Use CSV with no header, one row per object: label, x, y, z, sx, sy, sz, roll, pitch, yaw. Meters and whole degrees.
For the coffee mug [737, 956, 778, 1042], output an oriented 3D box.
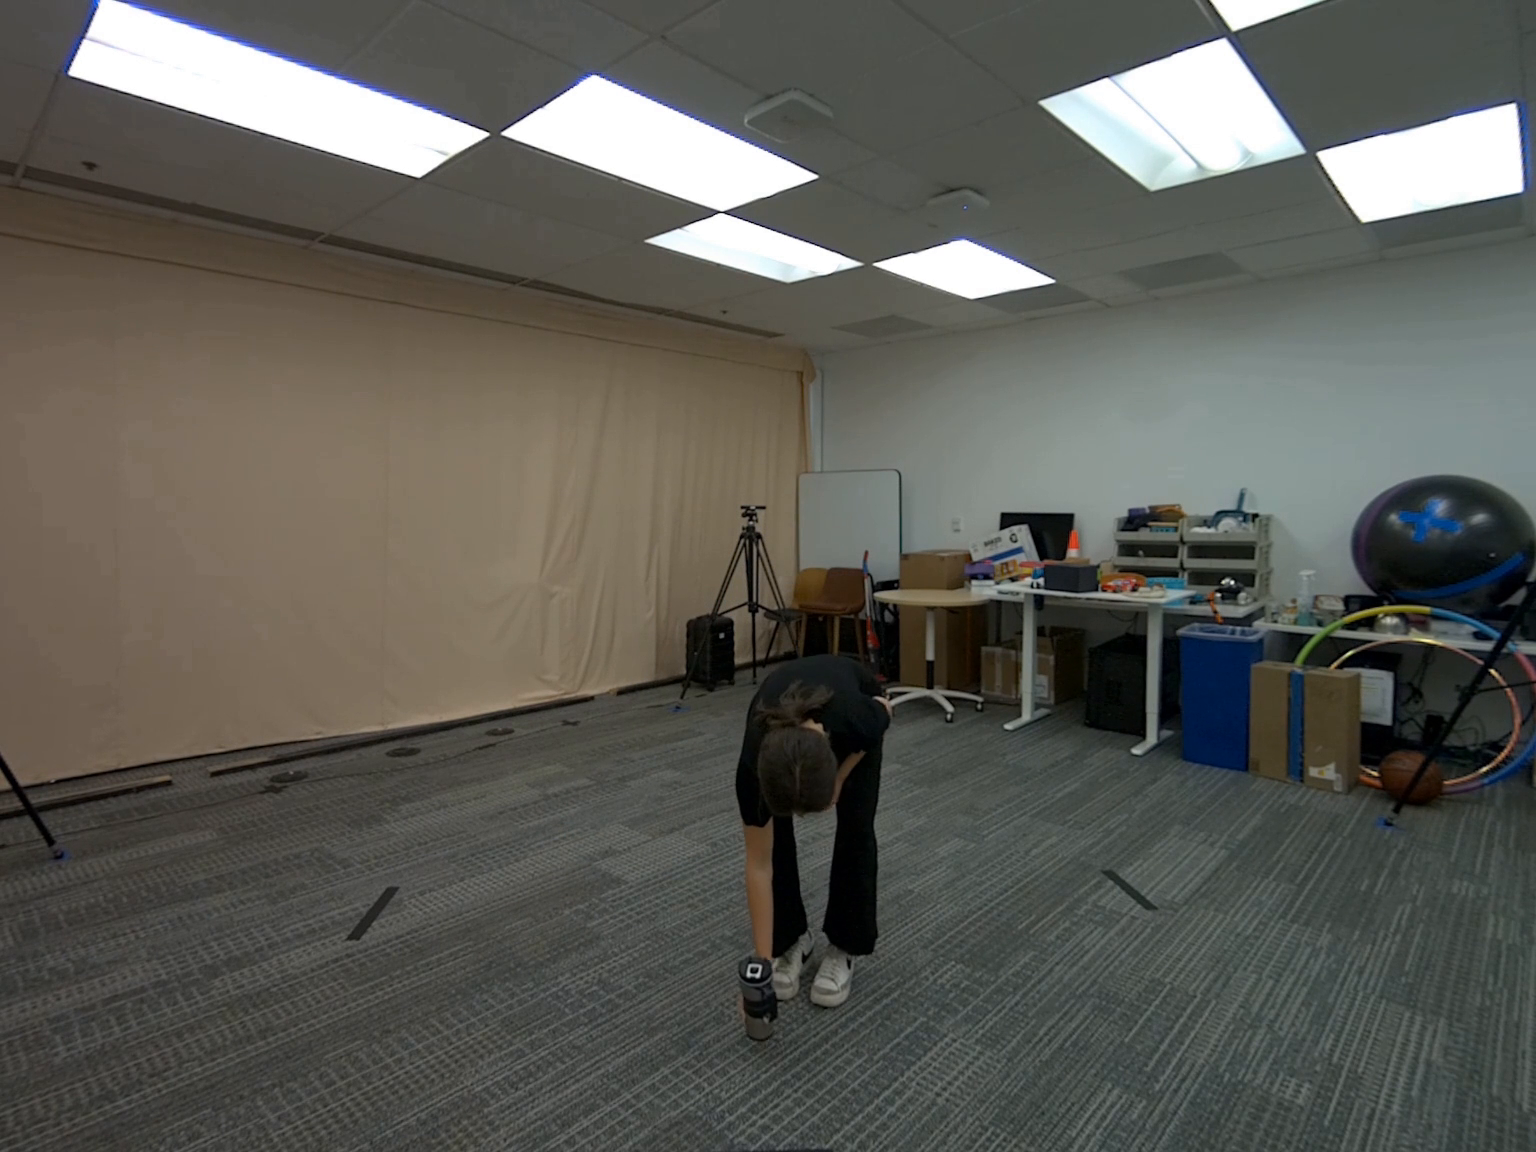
coffee mug,-0.003,1.067,2.121,0.126,0.201,0.086,7,18,39
